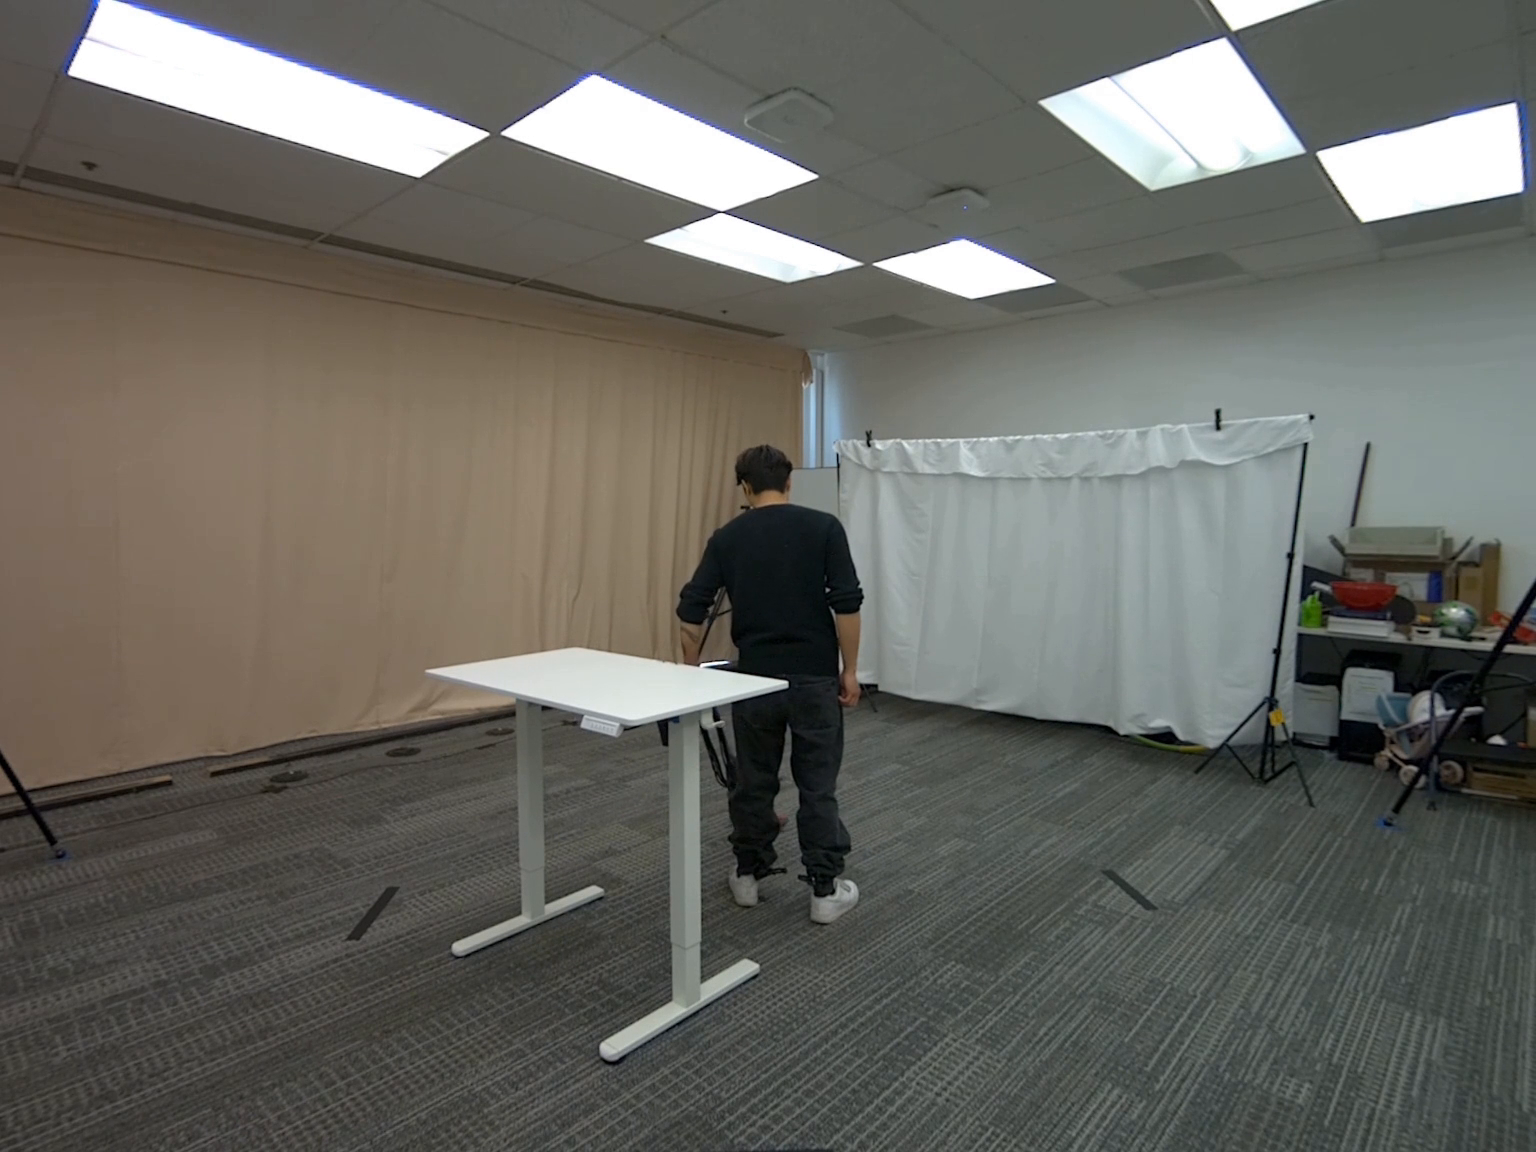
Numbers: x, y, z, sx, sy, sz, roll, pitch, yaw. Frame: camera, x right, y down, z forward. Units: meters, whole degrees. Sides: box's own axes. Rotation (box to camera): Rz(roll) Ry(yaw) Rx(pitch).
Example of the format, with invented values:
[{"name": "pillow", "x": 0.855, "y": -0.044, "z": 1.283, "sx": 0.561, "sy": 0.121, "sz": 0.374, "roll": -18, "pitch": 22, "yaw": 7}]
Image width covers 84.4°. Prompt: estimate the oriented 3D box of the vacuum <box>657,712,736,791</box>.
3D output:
[{"name": "vacuum", "x": -0.152, "y": 0.737, "z": 3.255, "sx": 0.257, "sy": 0.146, "sz": 1.020, "roll": -1, "pitch": -42, "yaw": 15}]
